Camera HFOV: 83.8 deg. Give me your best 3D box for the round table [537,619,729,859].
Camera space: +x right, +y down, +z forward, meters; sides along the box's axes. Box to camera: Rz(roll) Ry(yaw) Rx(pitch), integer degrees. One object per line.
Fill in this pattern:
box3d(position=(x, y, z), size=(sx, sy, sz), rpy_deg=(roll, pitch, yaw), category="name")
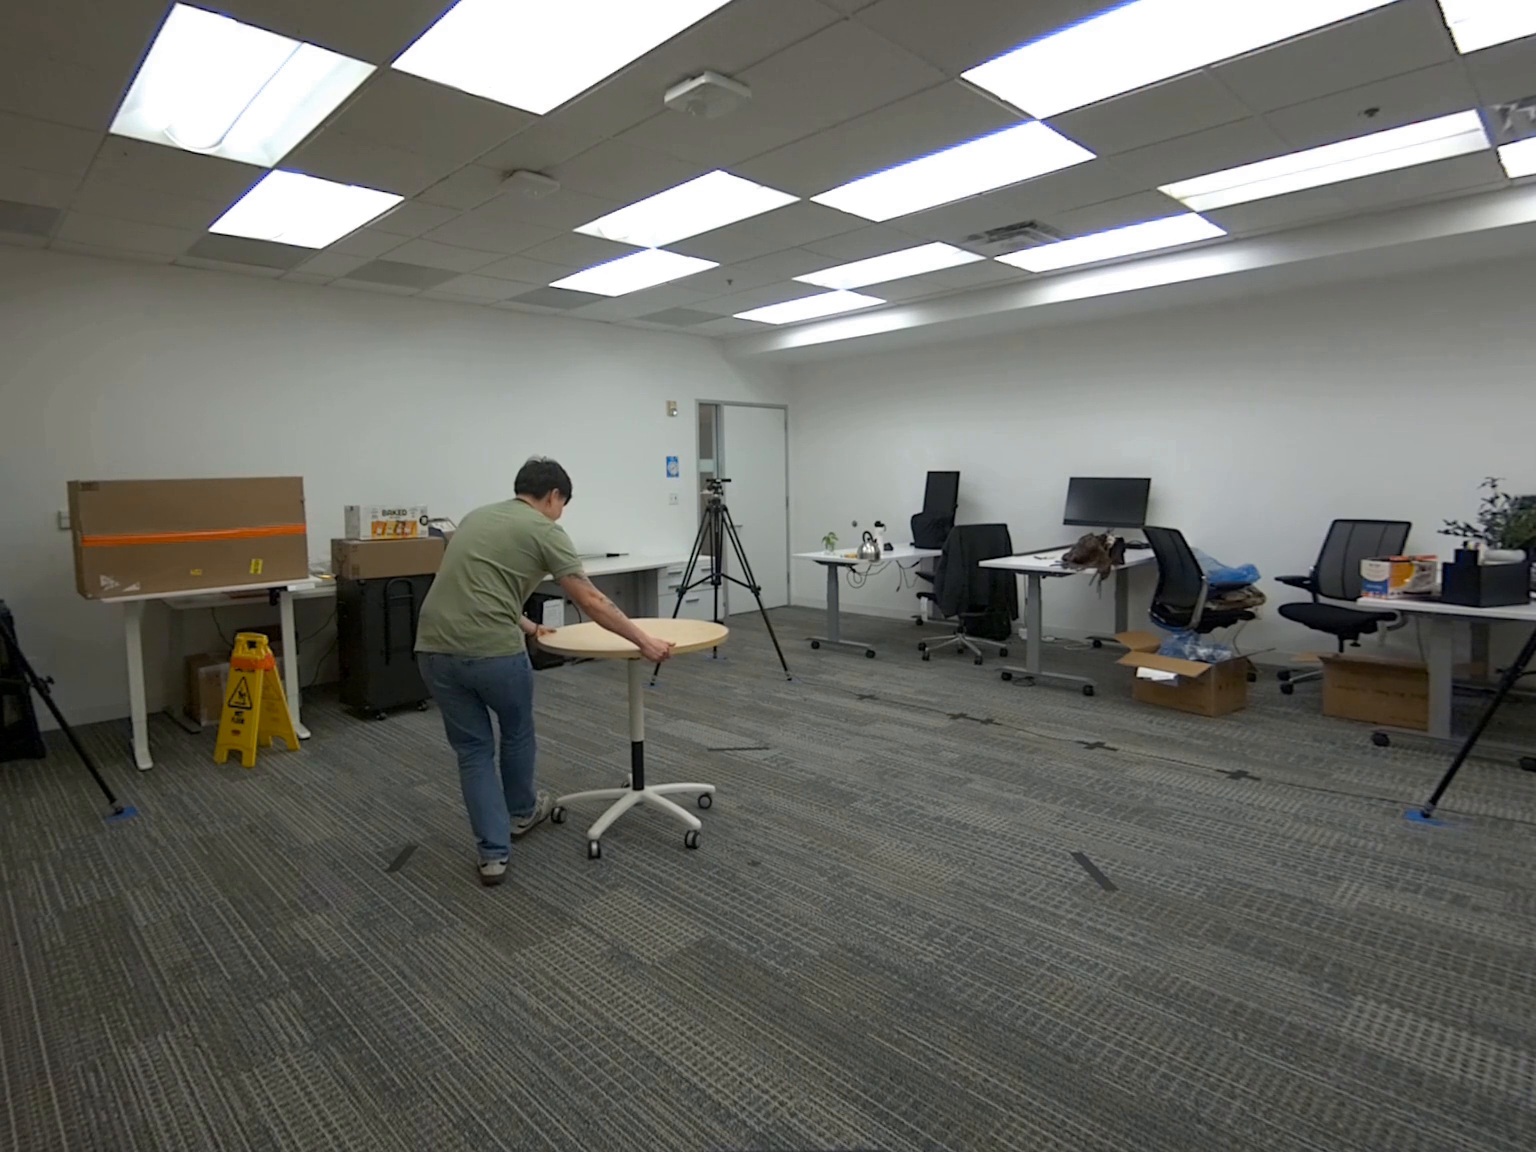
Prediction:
box3d(position=(-0.532, 0.622, 3.470), size=(0.763, 0.791, 0.767), rpy_deg=(-1, 4, -2), category="round table")
